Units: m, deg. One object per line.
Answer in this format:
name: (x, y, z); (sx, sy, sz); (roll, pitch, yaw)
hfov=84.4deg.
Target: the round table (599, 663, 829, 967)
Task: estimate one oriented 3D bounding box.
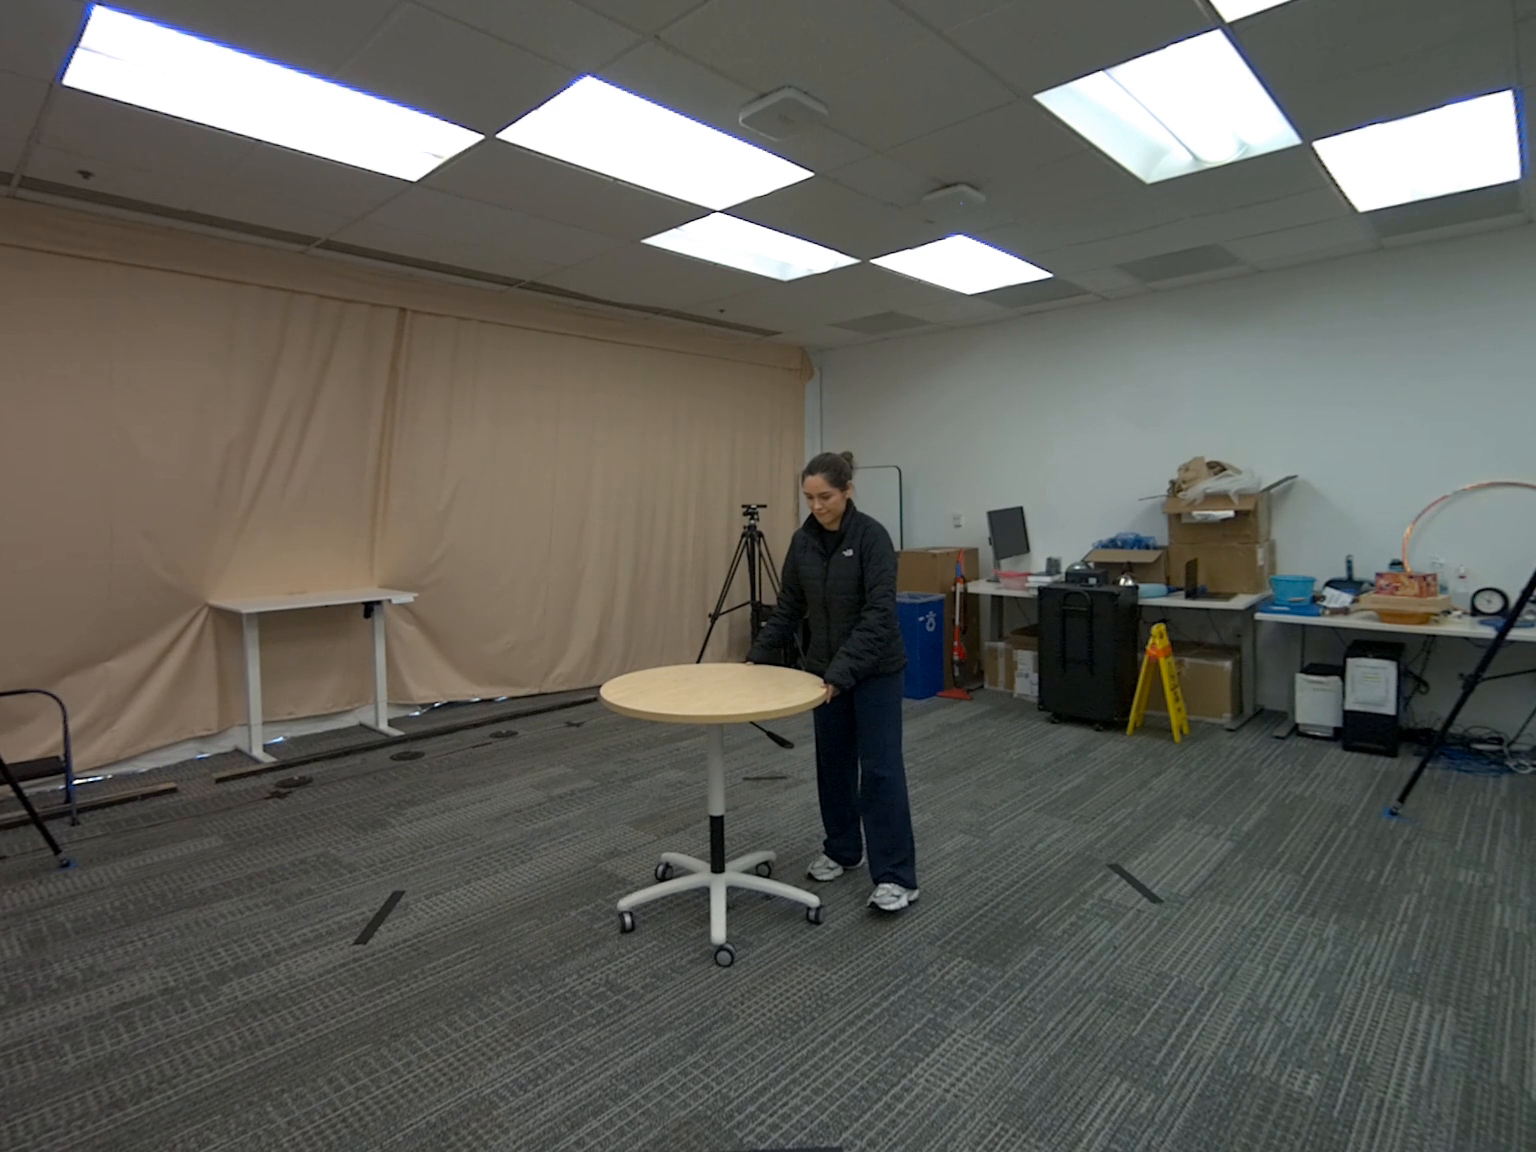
round table: (-0.162, 0.763, 2.859); (0.784, 0.785, 0.788); (-1, 4, -2)
